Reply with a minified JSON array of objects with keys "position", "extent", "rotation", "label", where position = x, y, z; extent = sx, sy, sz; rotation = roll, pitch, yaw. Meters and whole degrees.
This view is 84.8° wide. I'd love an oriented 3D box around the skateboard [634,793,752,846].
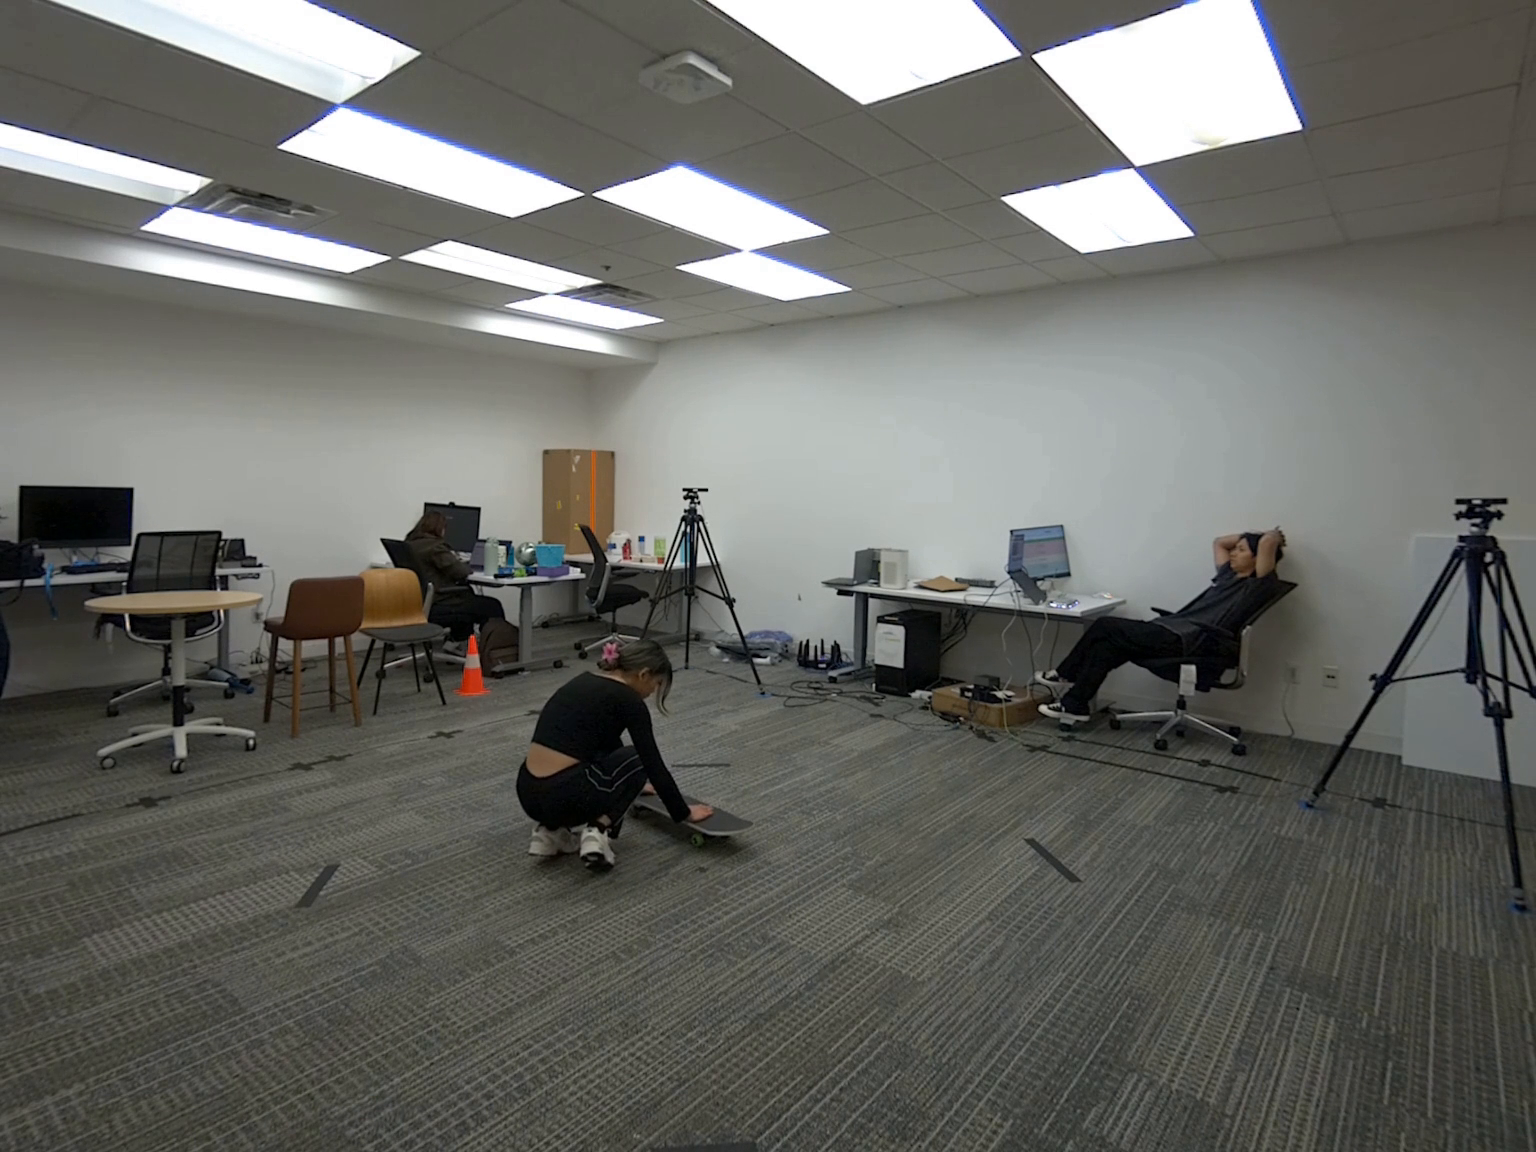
[{"position":[-0.378,0.978,3.505],"extent":[0.813,0.110,0.187],"rotation":[6,7,44],"label":"skateboard"}]
